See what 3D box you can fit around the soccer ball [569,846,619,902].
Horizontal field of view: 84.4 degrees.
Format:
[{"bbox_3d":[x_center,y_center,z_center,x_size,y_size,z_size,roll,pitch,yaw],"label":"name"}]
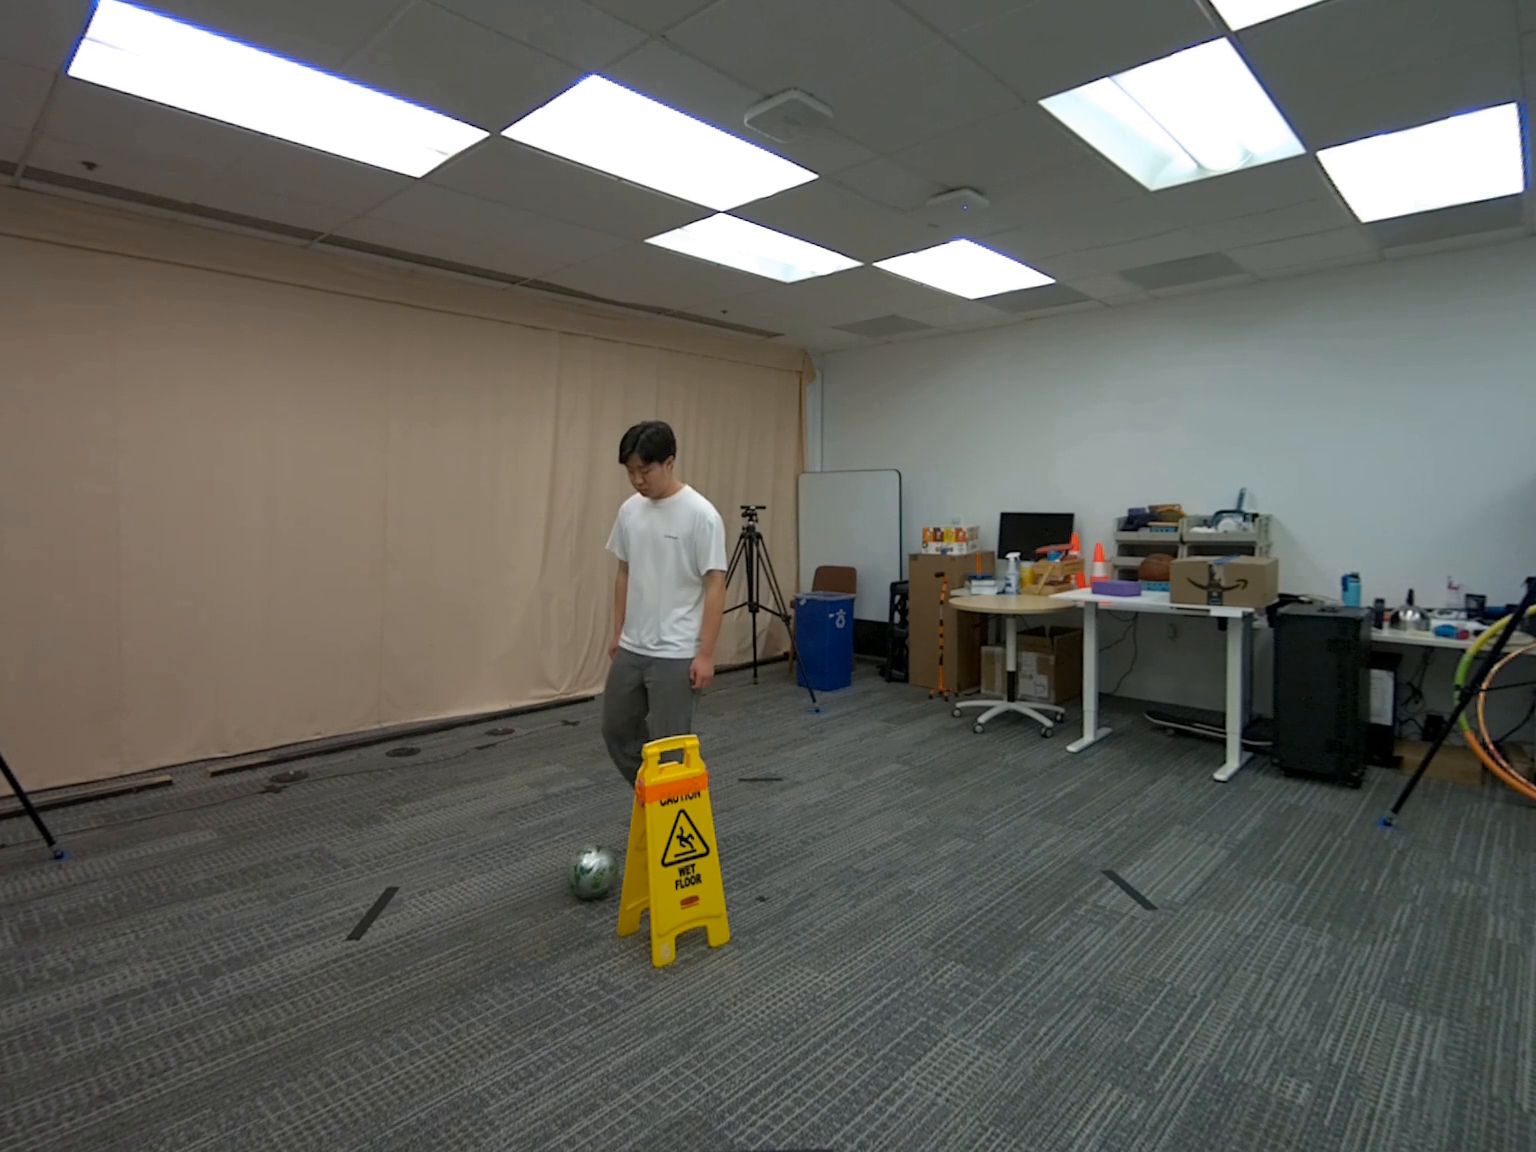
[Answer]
[{"bbox_3d":[-0.626,1.050,3.010,0.187,0.187,0.188,0,4,-2],"label":"soccer ball"}]
